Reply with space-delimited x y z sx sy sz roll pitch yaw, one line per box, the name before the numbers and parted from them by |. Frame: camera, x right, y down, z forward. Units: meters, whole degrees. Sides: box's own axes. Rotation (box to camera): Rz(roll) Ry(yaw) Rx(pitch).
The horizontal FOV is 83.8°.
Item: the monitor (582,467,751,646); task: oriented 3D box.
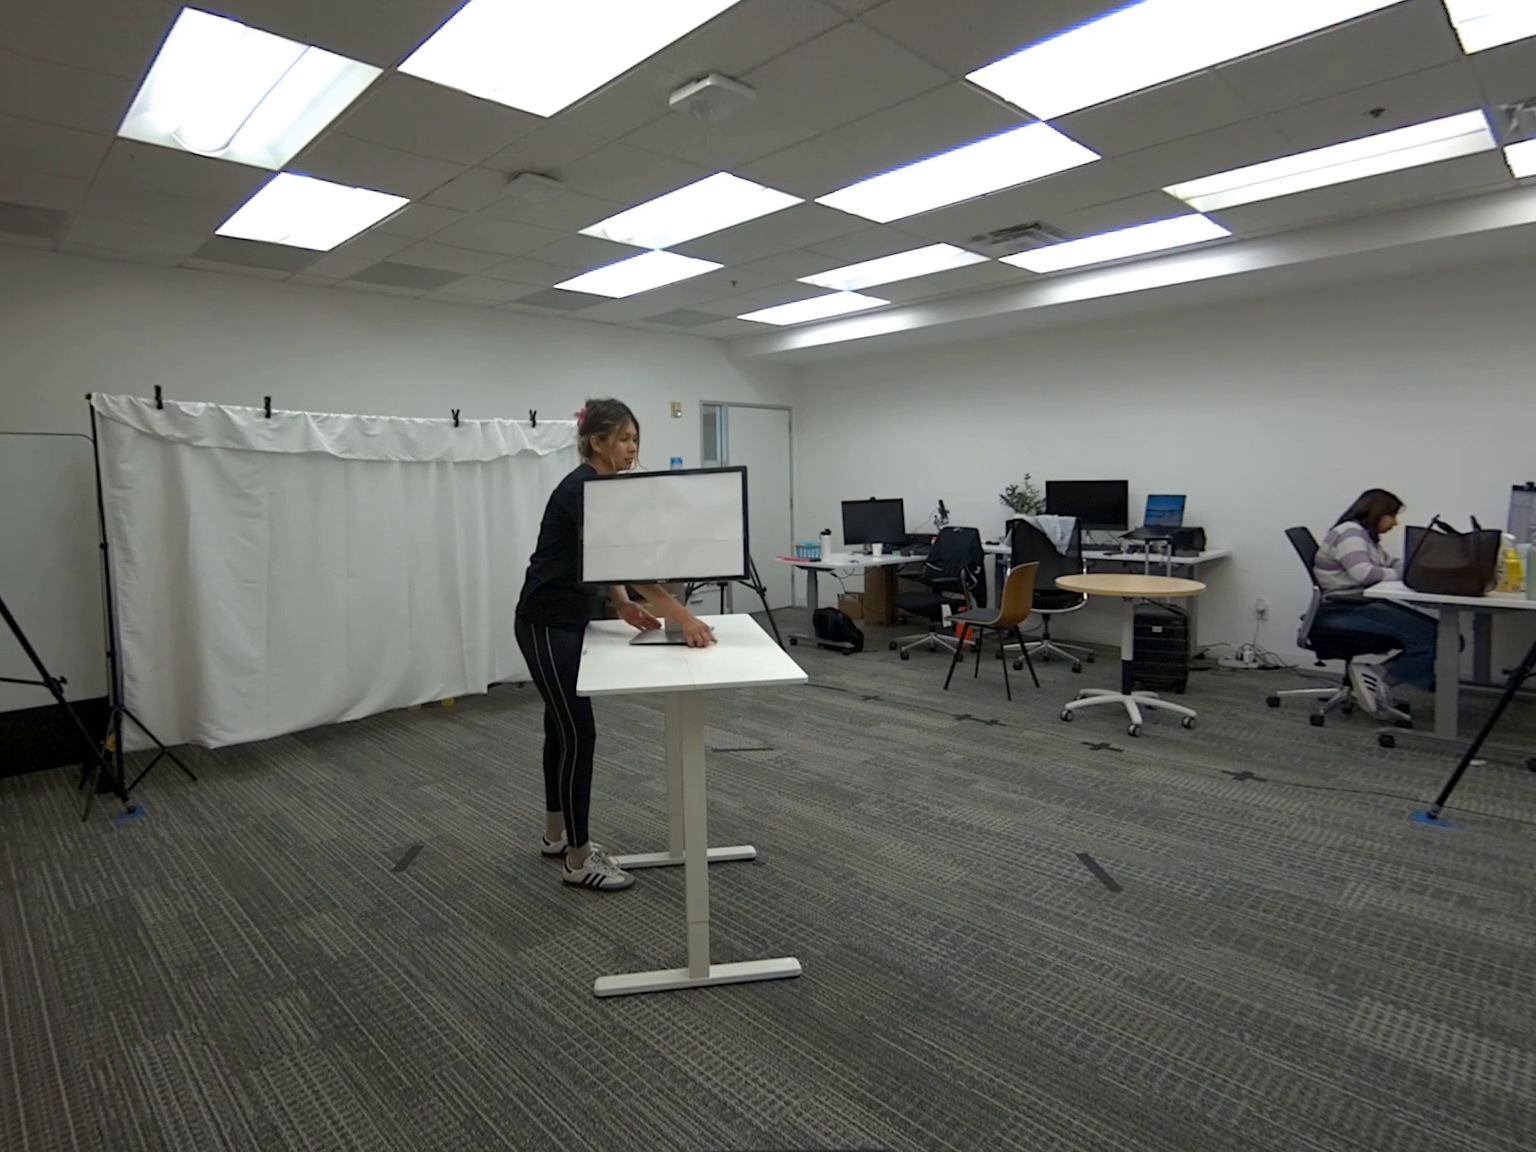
monitor | -0.314 -0.061 2.755 0.544 0.522 0.185 -2 2 11
